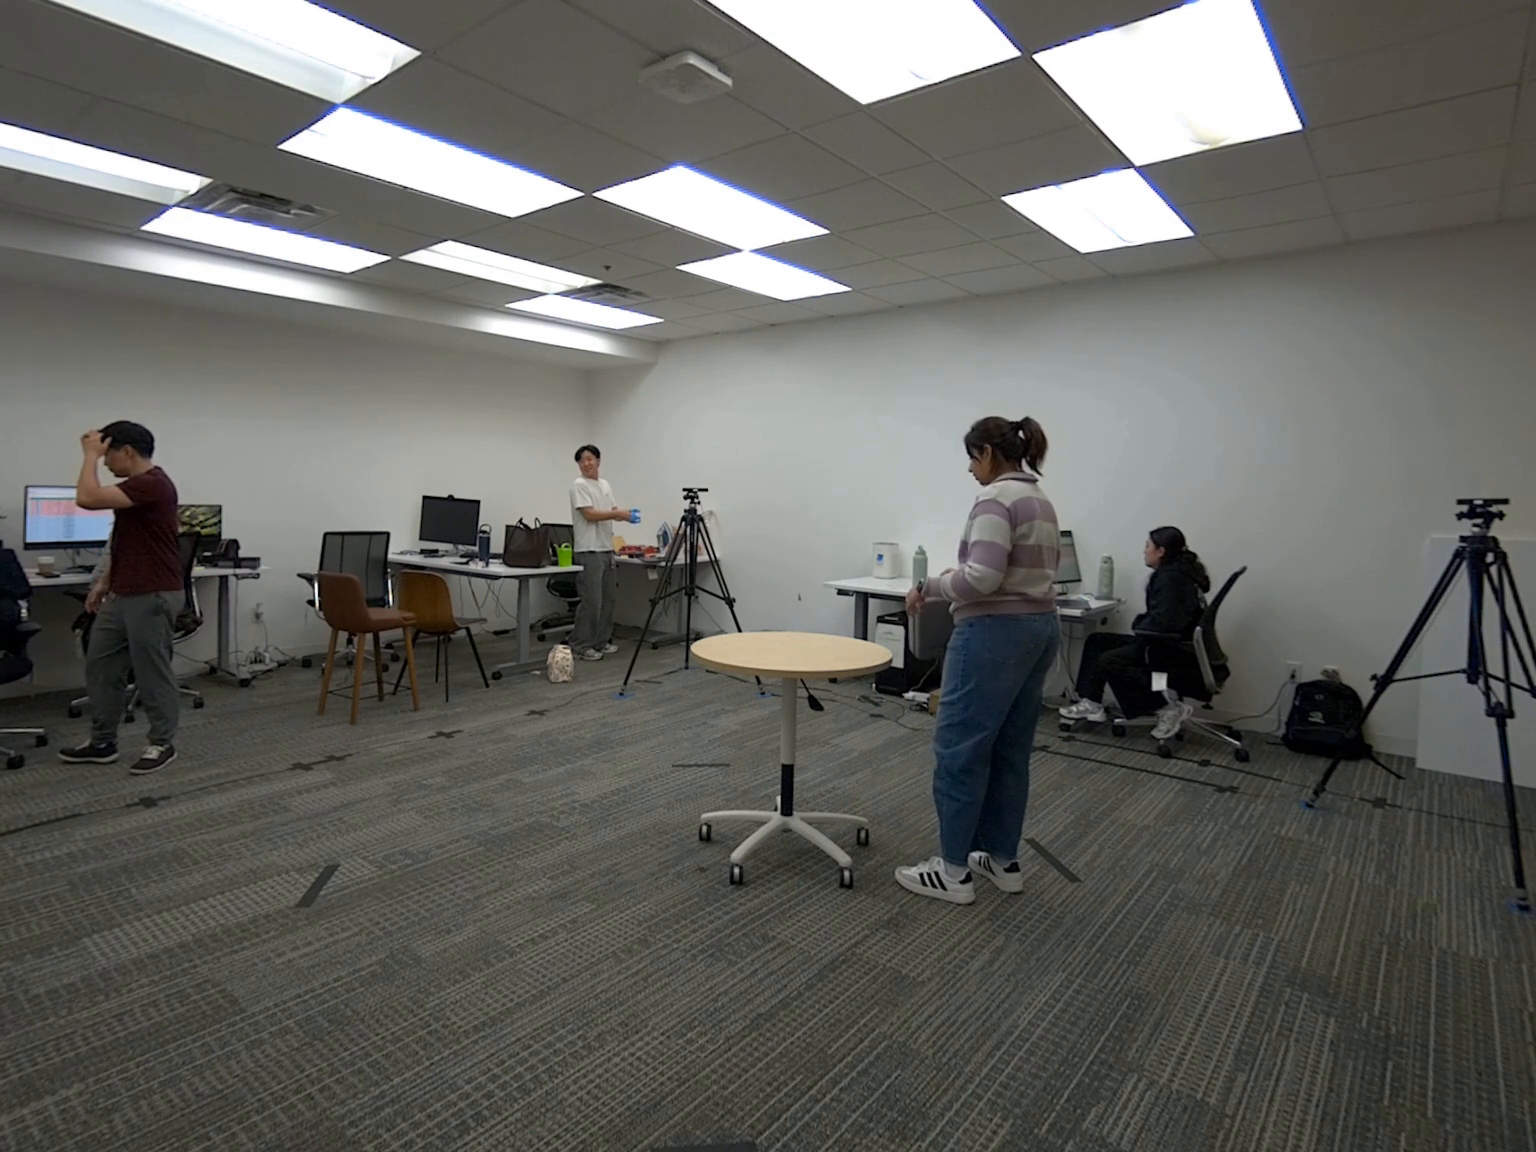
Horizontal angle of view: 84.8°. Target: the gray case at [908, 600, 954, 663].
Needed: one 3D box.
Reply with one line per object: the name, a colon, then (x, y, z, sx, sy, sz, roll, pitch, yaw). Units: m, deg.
gray case: (0.660, 0.170, 3.278, 0.254, 0.257, 0.107, -4, 14, -11)
